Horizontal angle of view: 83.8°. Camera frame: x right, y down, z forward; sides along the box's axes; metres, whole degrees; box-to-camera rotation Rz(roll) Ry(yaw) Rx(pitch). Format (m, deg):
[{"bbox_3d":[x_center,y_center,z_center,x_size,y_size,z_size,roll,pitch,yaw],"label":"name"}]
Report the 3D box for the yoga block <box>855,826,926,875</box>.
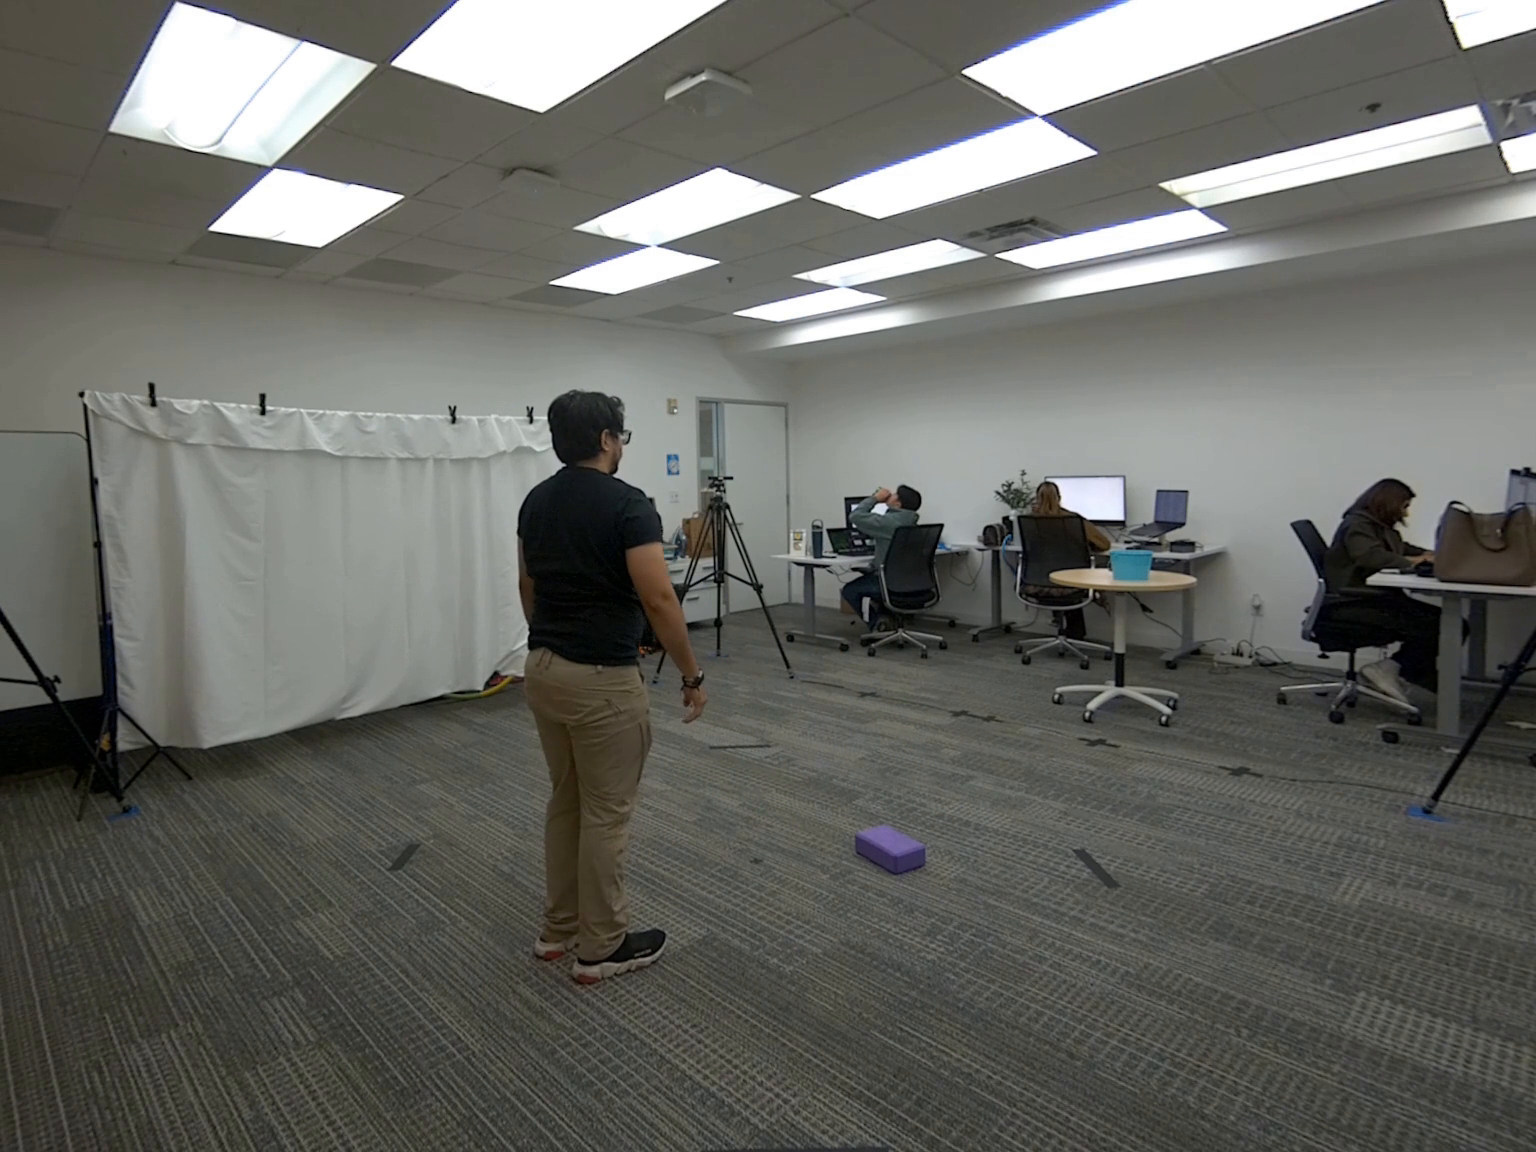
[{"bbox_3d":[0.445,0.985,3.099,0.145,0.076,0.236,-5,7,-31],"label":"yoga block"}]
